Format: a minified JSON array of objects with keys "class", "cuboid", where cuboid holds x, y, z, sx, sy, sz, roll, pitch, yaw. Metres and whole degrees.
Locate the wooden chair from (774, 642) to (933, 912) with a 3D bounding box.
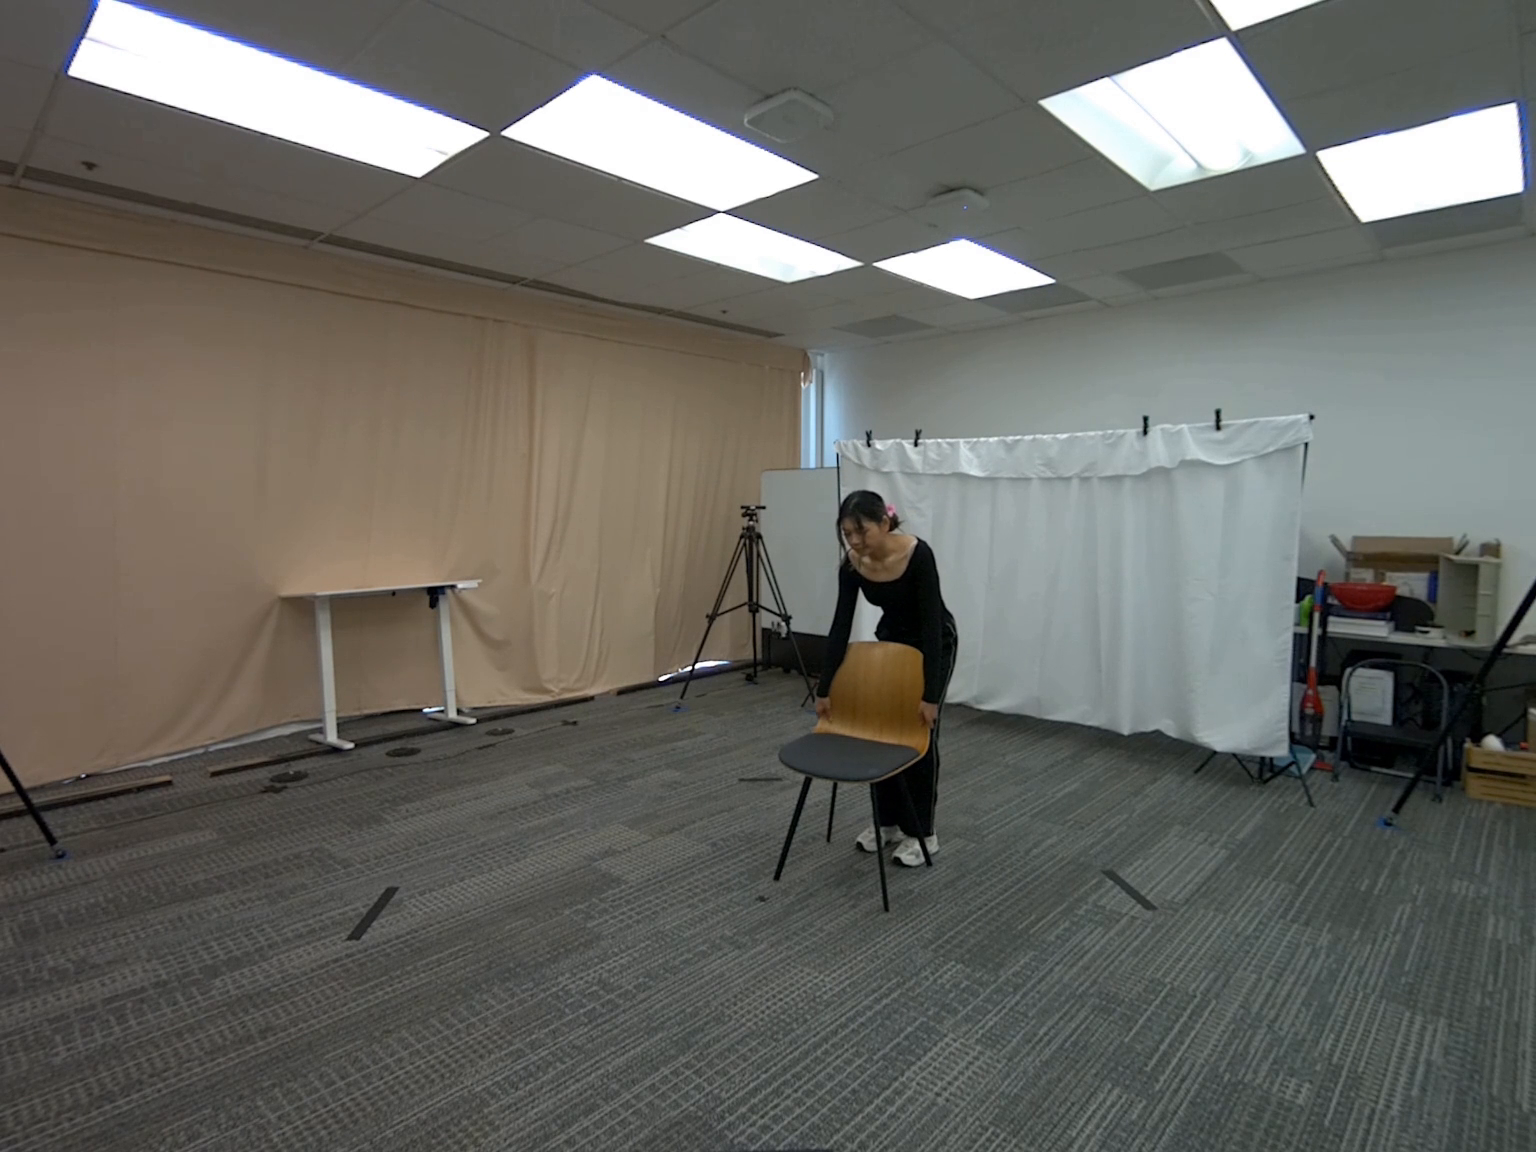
[{"class":"wooden chair","cuboid":[0.324,0.699,3.151,0.492,0.877,0.507,3,0,32]}]
